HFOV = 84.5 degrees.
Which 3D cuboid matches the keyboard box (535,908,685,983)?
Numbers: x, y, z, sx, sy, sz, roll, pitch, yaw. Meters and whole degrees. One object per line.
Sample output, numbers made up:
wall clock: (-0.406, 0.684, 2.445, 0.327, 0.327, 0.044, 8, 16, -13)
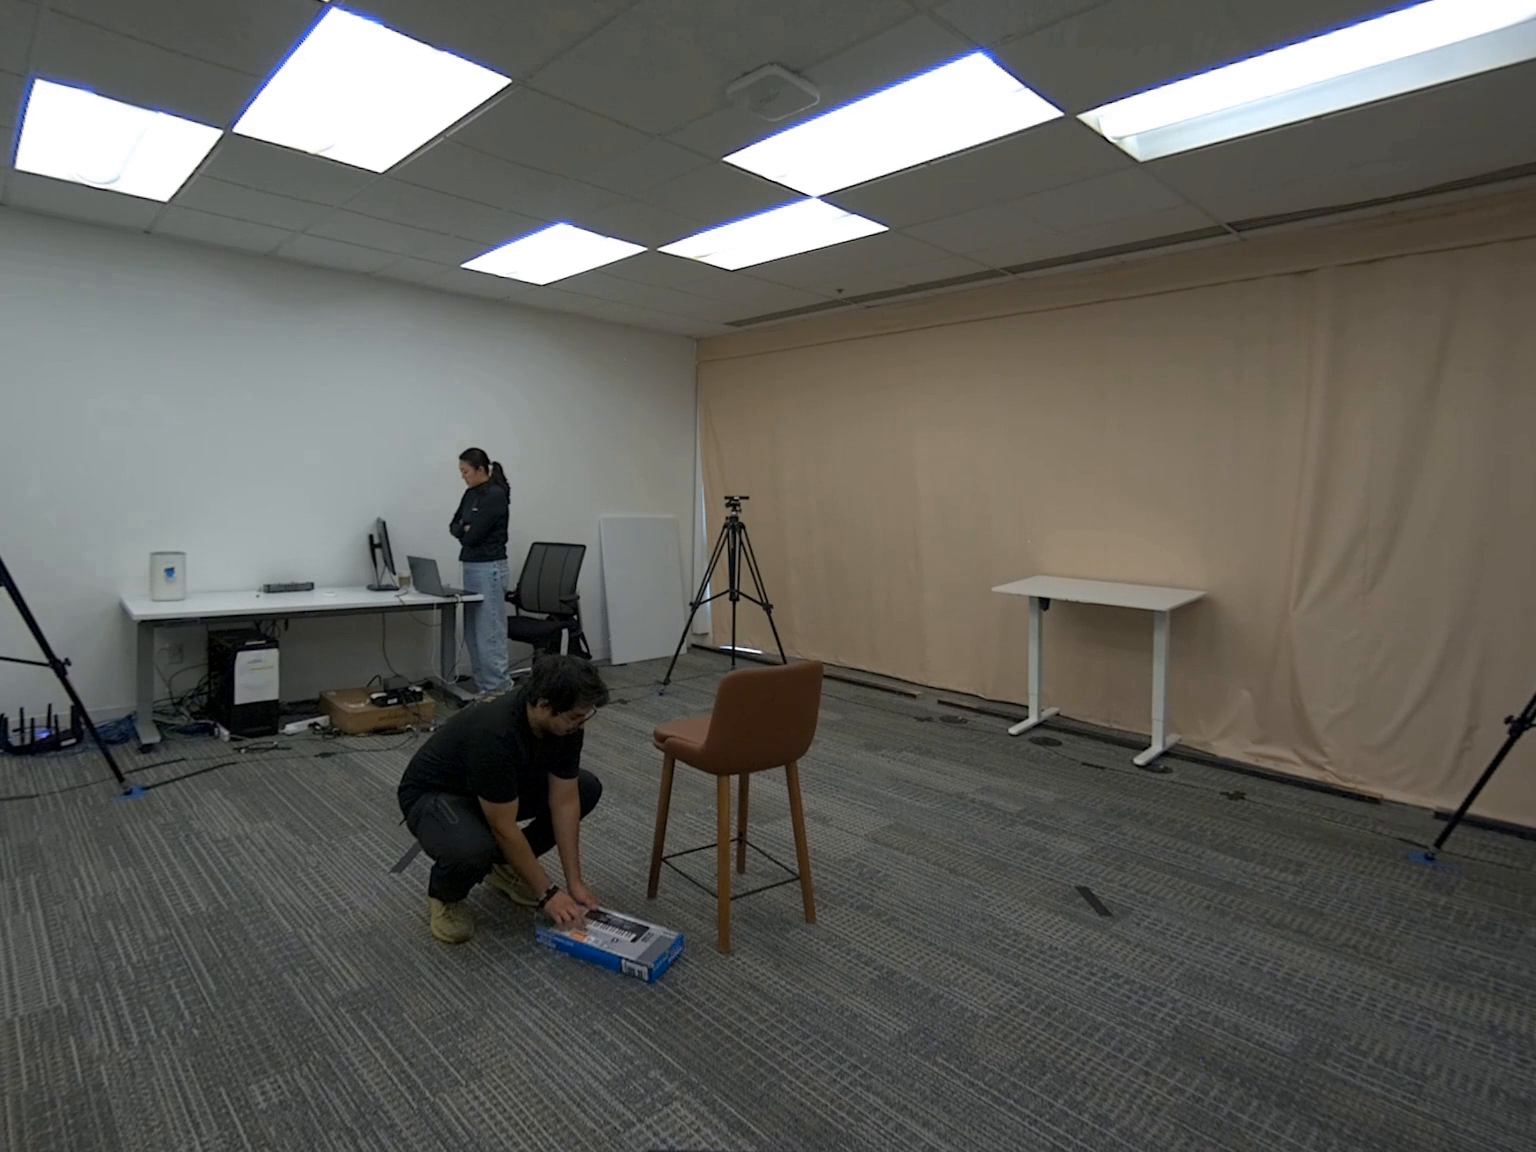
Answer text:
keyboard box: (-0.505, 1.114, 2.559, 0.446, 0.058, 0.173, 4, 12, 29)
